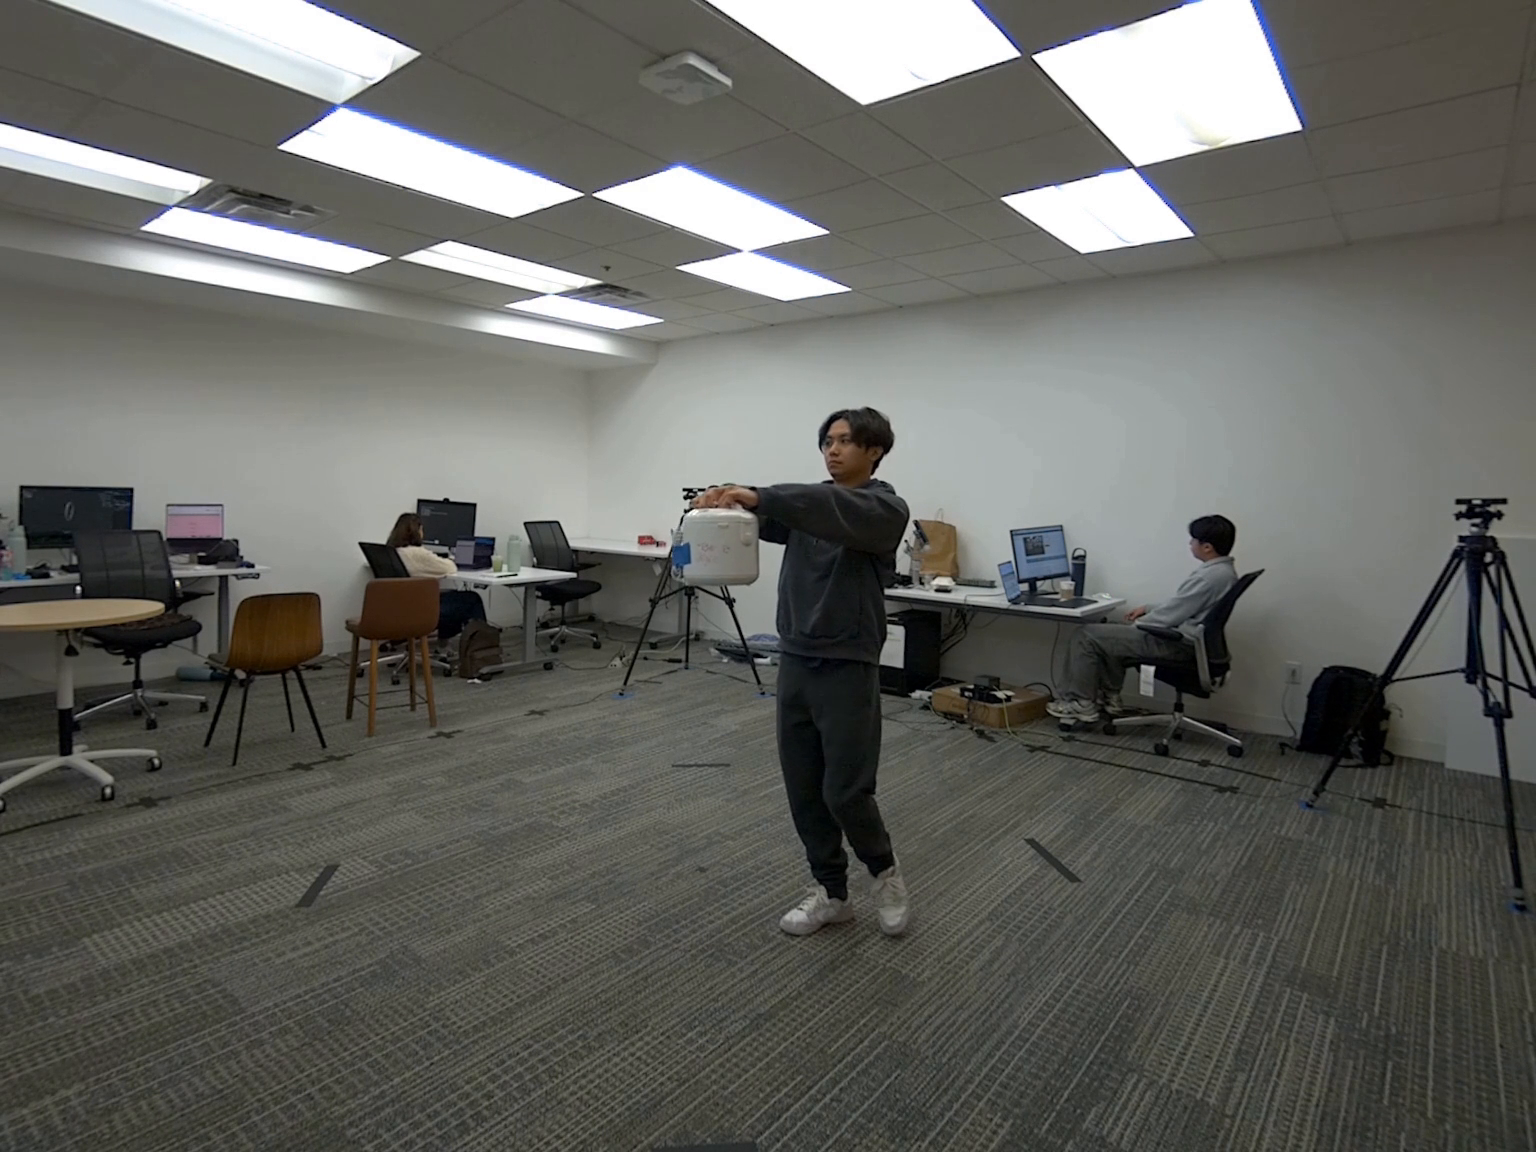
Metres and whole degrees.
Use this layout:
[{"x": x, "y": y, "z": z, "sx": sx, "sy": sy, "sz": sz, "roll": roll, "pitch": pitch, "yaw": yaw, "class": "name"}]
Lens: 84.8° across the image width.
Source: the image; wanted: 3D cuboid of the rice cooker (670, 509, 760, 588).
[{"x": -0.140, "y": -0.091, "z": 2.331, "sx": 0.210, "sy": 0.233, "sz": 0.228, "roll": 0, "pitch": 1, "yaw": -44, "class": "rice cooker"}]
